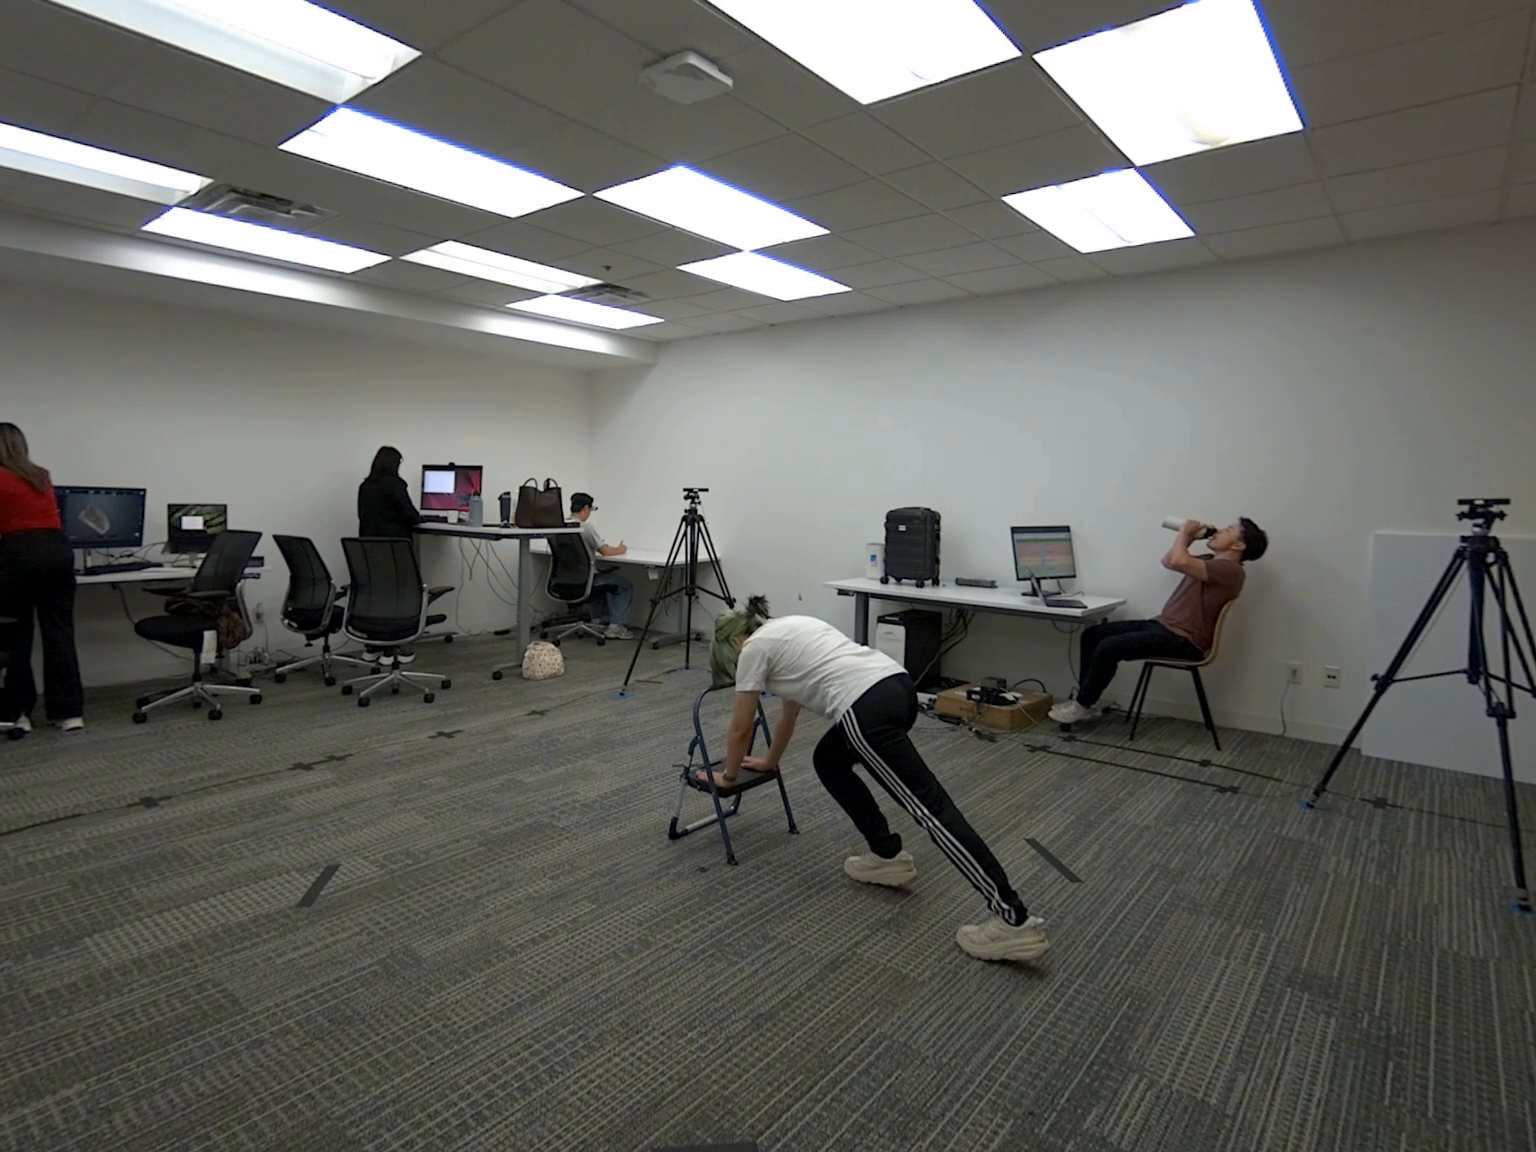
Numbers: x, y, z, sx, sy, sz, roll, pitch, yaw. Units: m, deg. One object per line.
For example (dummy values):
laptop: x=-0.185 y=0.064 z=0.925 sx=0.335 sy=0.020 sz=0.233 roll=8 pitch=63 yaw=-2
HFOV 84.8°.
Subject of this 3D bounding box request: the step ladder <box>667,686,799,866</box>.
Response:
step ladder: x=-0.141 y=0.739 z=3.402 sx=0.361 sy=0.604 sz=0.418 roll=4 pitch=4 yaw=38
